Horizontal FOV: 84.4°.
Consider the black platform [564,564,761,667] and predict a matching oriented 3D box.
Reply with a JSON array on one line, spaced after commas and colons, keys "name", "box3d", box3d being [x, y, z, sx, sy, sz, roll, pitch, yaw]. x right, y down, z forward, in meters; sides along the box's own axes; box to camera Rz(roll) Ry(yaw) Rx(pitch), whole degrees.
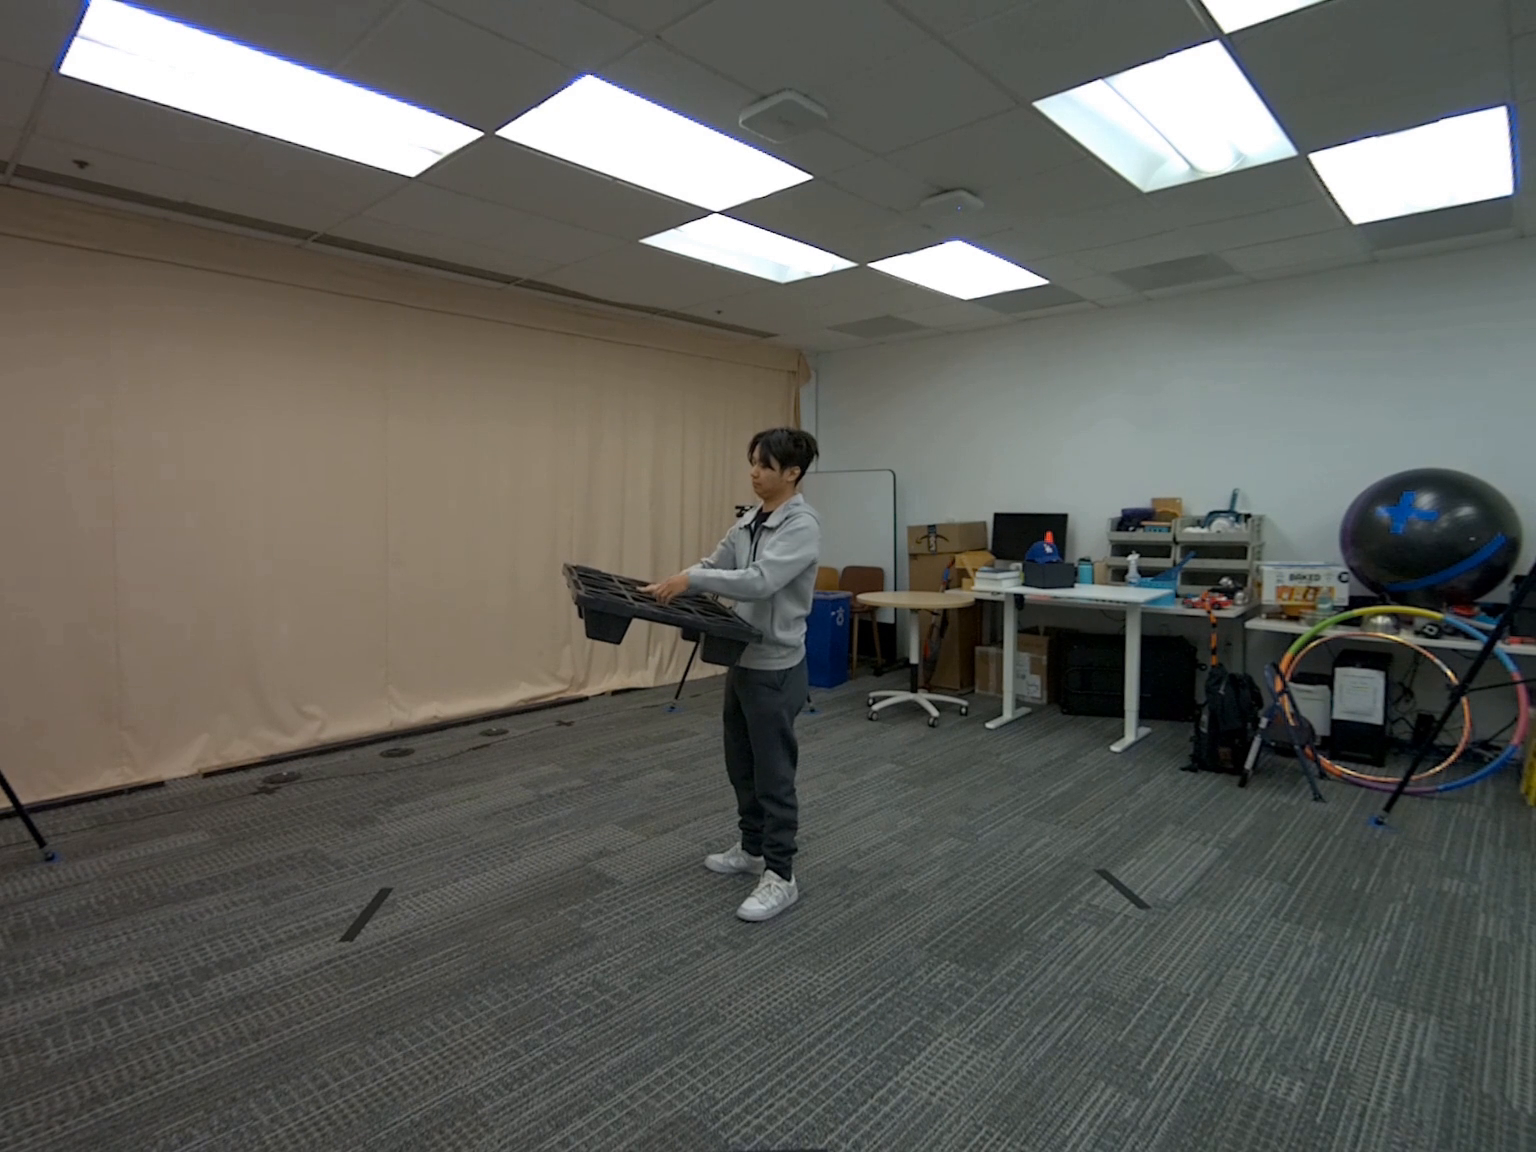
[{"name": "black platform", "box3d": [-0.417, 0.129, 2.930, 0.595, 0.143, 0.821, 13, 3, -16]}]
